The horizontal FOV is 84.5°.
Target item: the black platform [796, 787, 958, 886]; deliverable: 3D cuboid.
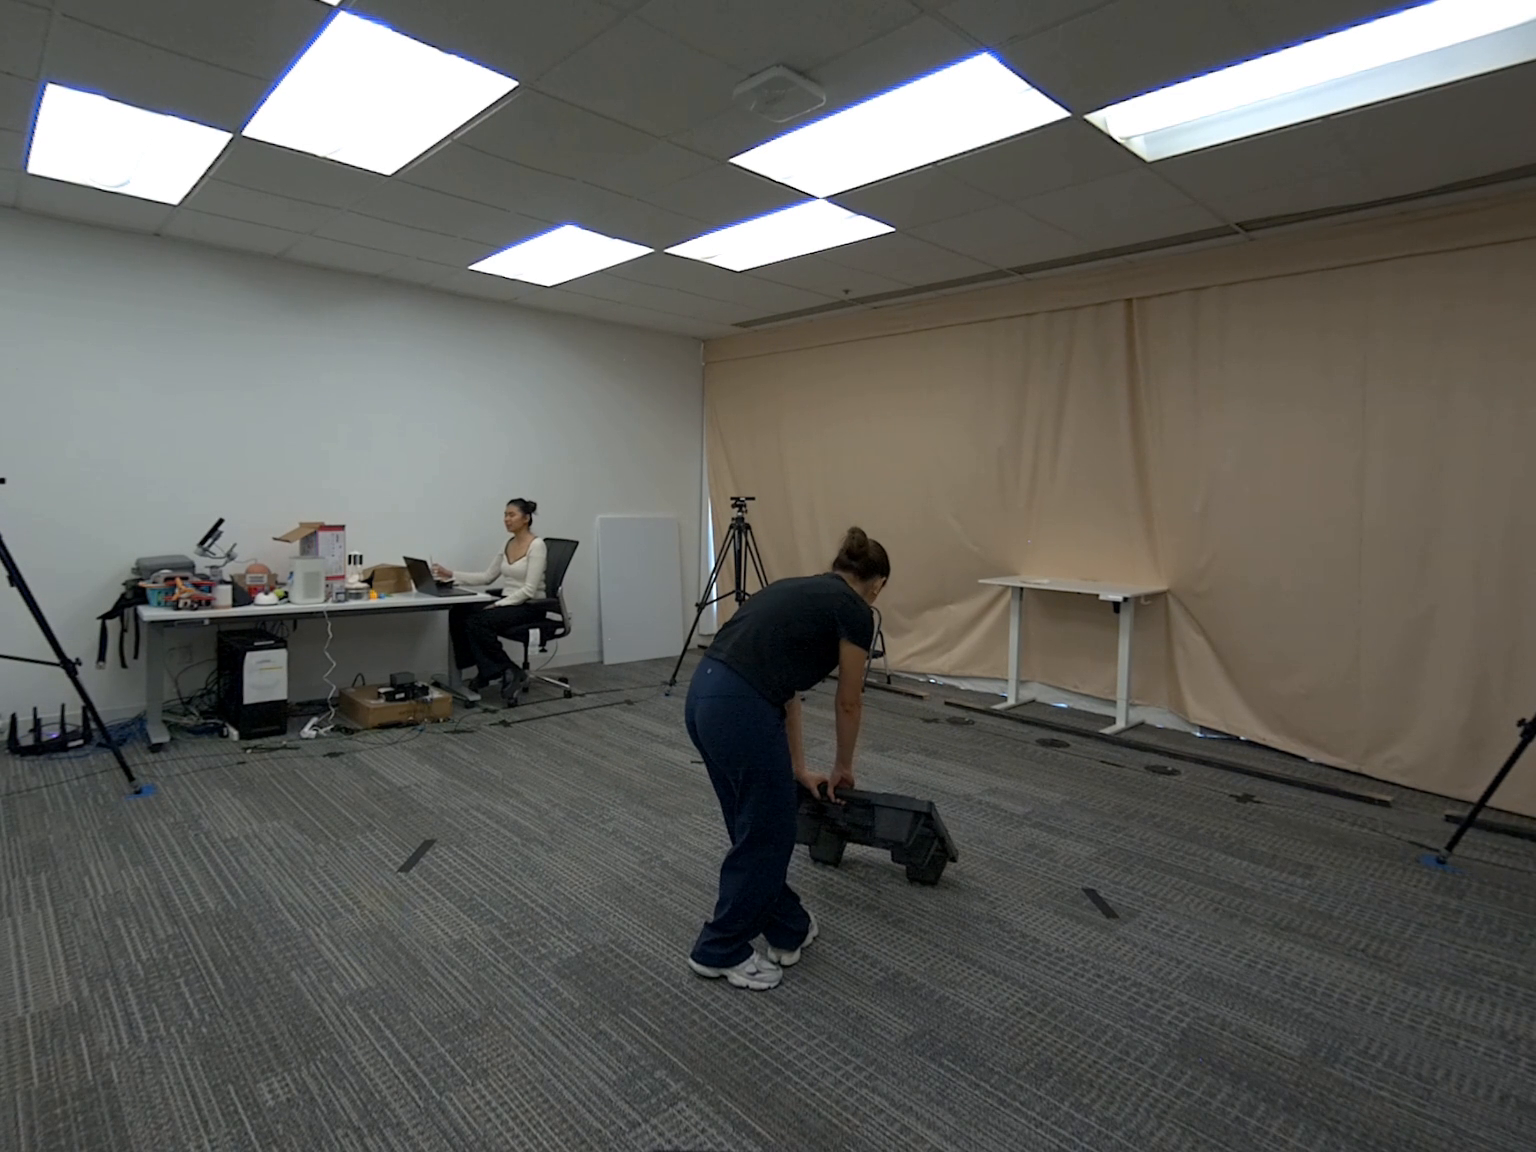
[{"bbox_3d":[0.299,0.885,2.879,0.615,0.145,0.782,4,-27,21],"label":"black platform"}]
